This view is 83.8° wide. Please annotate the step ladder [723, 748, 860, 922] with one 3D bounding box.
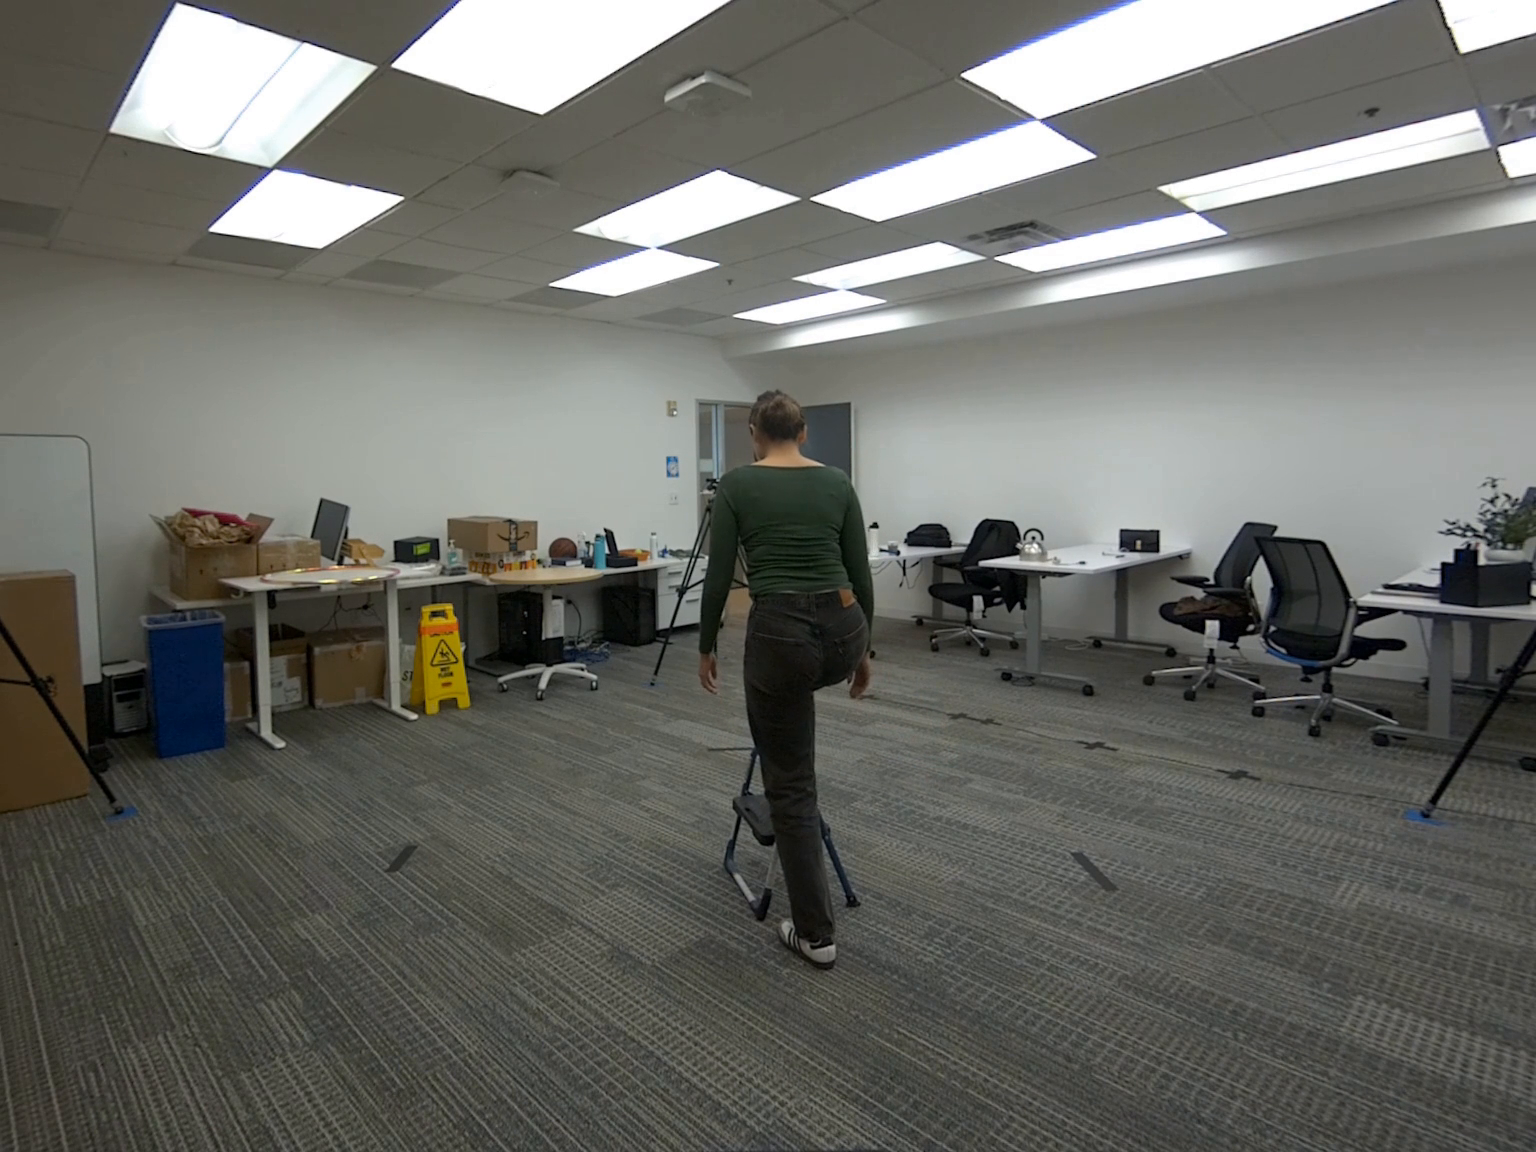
[{"bbox_3d":[0.063,0.762,2.922,0.344,0.604,0.439,-3,5,-18],"label":"step ladder"}]
